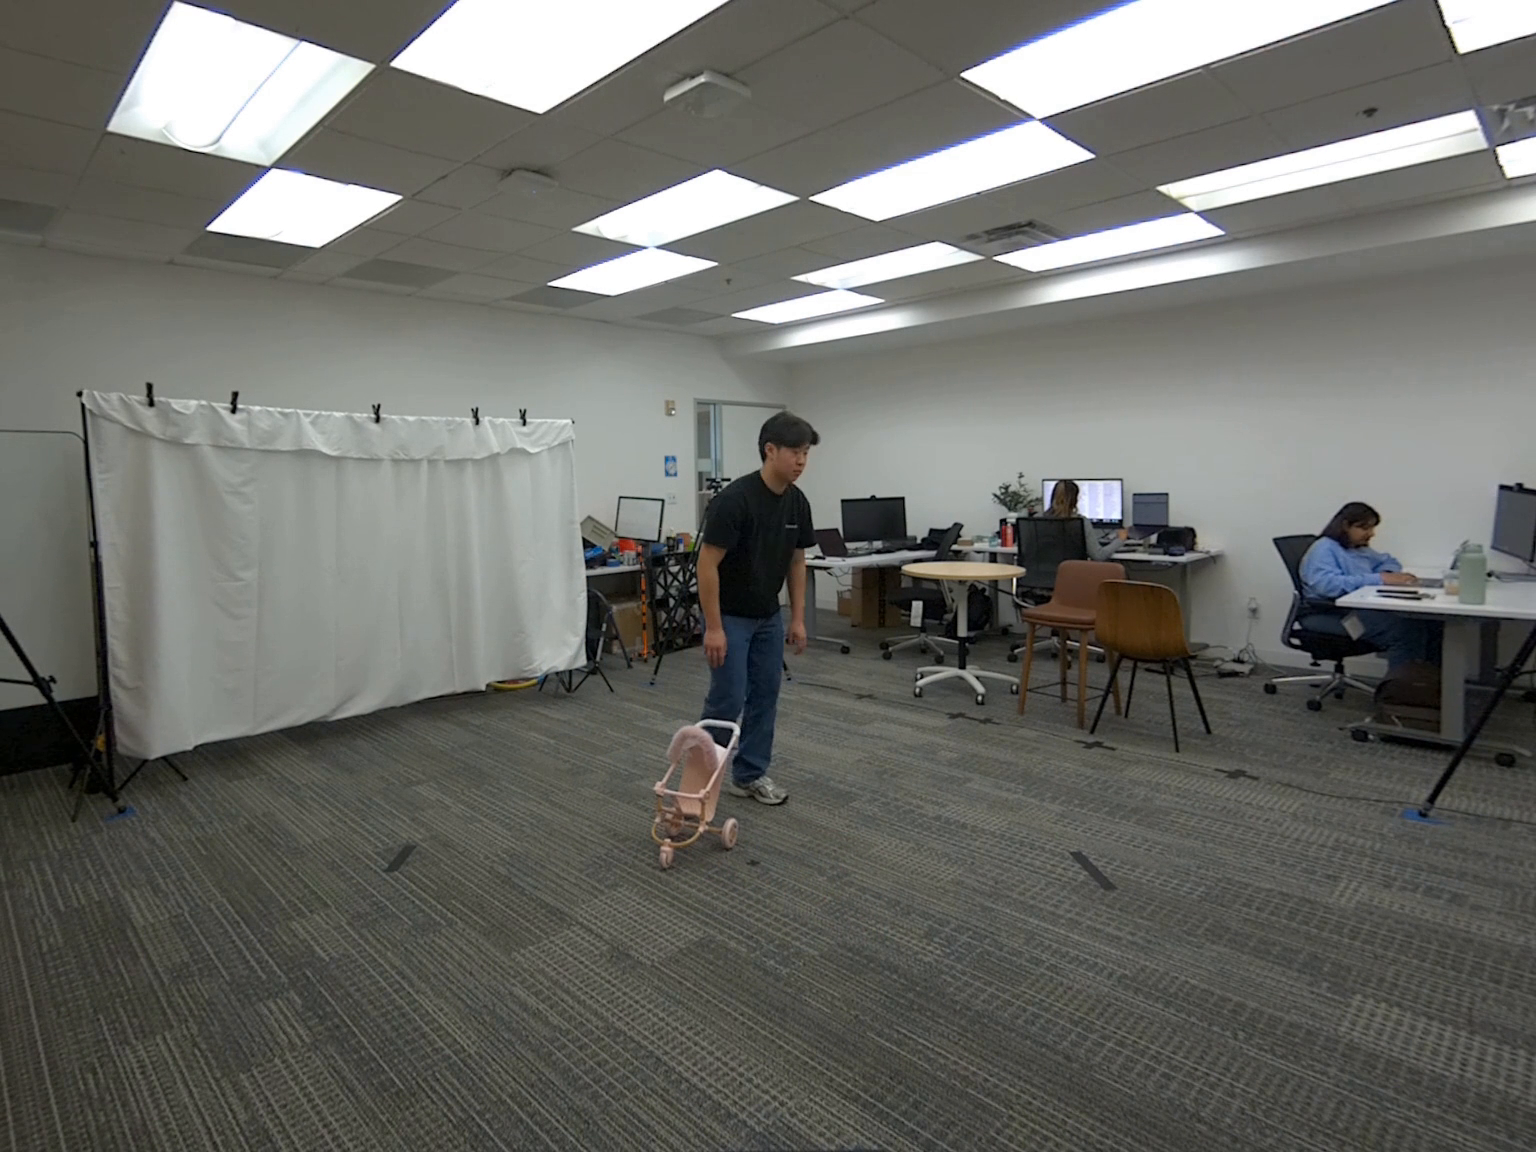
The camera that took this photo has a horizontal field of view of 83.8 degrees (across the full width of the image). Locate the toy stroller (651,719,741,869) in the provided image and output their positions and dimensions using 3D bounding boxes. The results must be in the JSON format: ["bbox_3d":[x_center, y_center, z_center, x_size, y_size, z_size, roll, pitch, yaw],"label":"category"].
[{"bbox_3d":[-0.287,0.809,3.227,0.289,0.539,0.330,1,-12,31],"label":"toy stroller"}]
